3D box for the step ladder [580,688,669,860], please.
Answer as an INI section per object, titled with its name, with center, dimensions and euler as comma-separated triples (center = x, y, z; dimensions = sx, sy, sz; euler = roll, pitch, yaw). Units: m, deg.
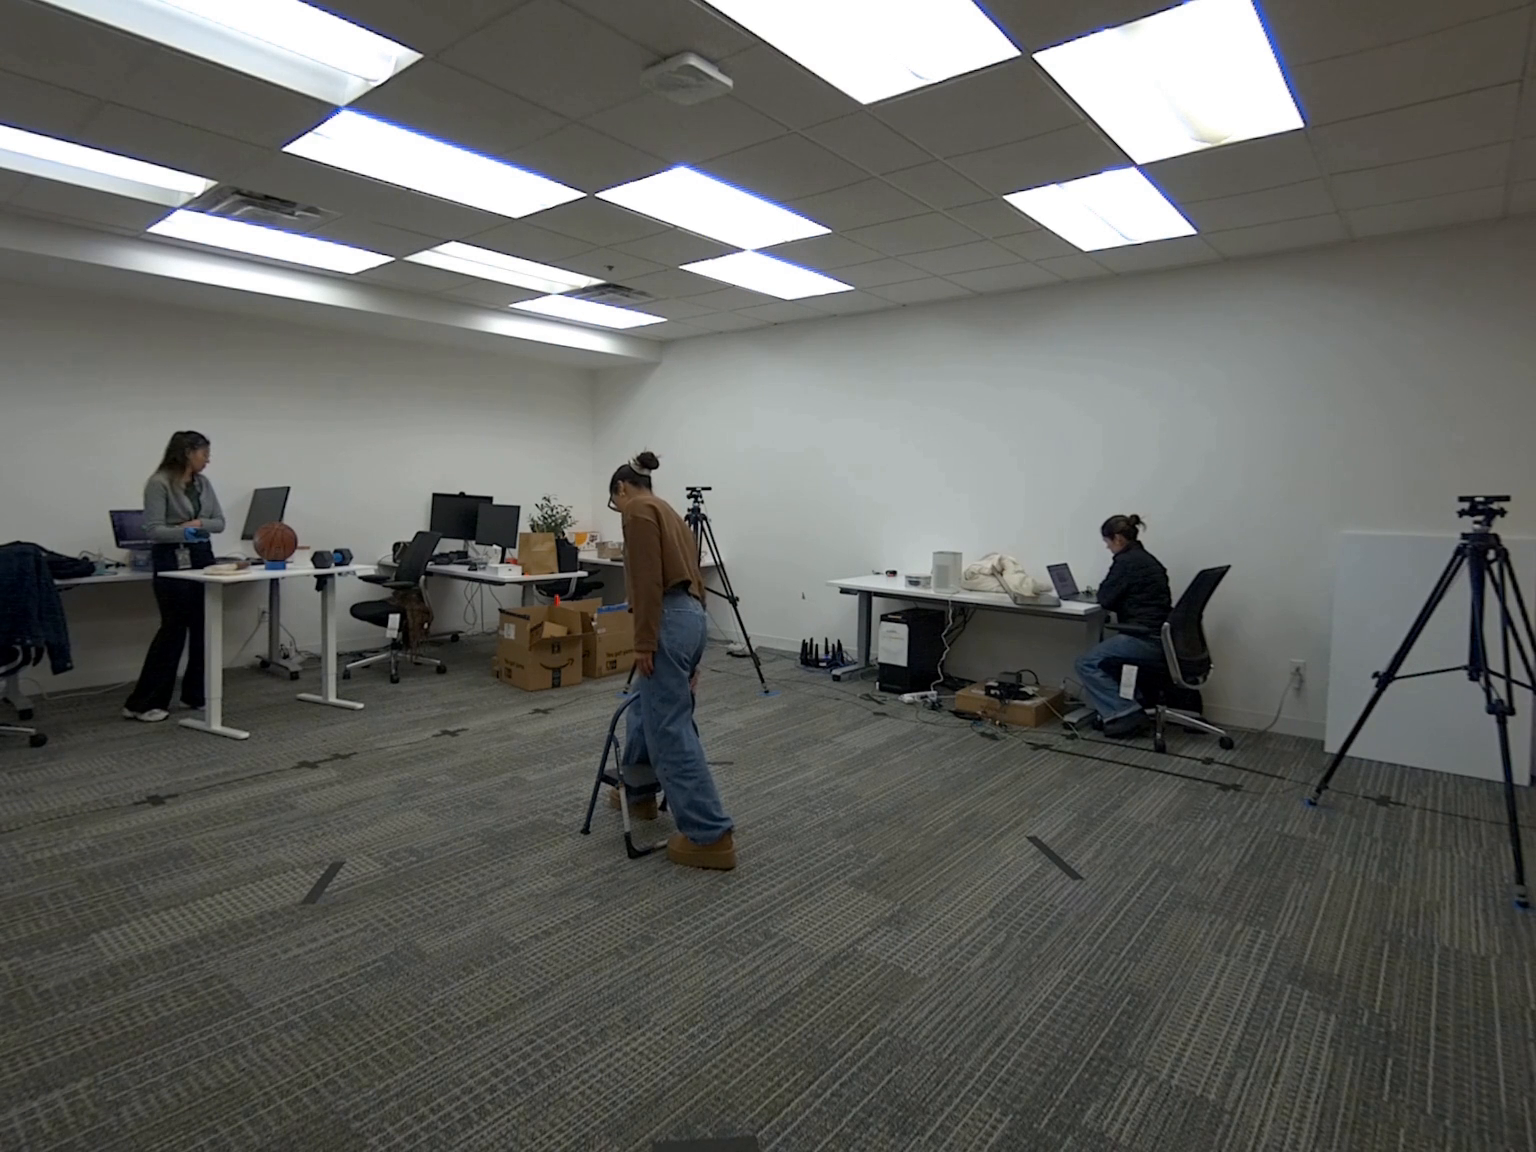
[step ladder]
center = -0.489, 0.725, 3.408
dimensions = 0.417, 0.604, 0.361
euler = -3, 6, -44
